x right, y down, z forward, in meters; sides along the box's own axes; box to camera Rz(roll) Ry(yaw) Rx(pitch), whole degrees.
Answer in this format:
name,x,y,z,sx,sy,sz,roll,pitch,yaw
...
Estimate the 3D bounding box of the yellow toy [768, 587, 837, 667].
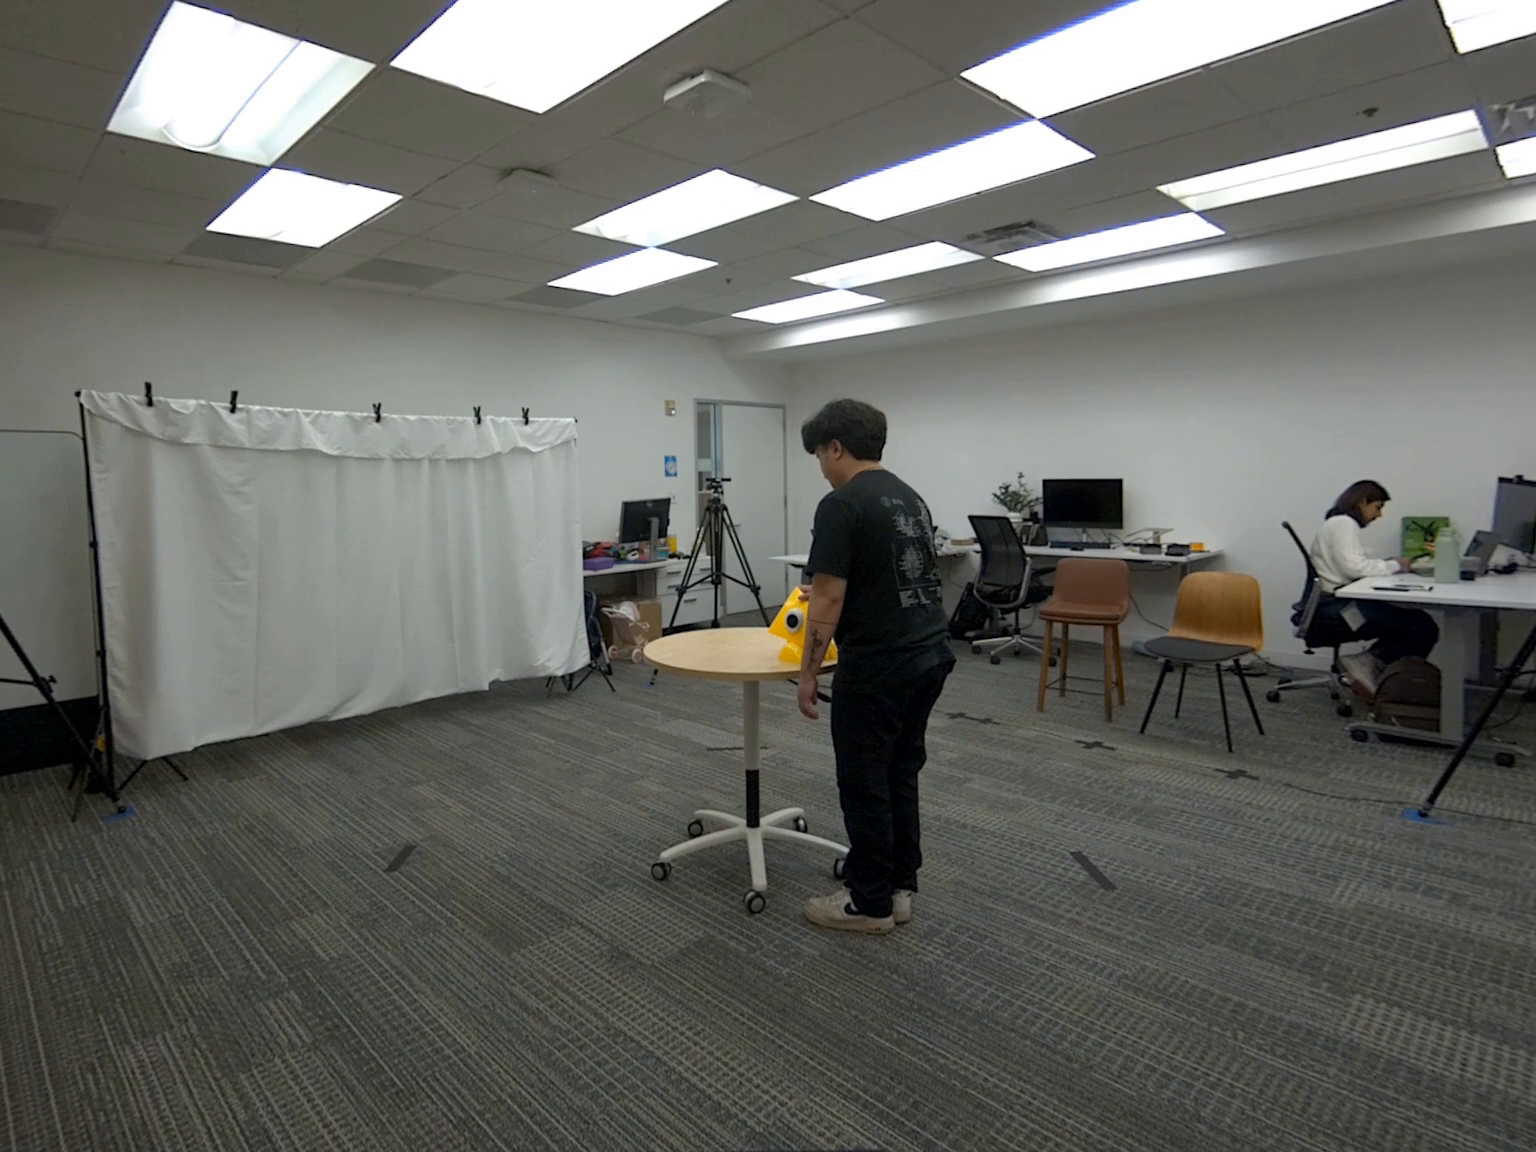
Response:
name,x,y,z,sx,sy,sz,roll,pitch,yaw
yellow toy,0.136,0.160,2.876,0.200,0.230,0.198,-3,6,-28
